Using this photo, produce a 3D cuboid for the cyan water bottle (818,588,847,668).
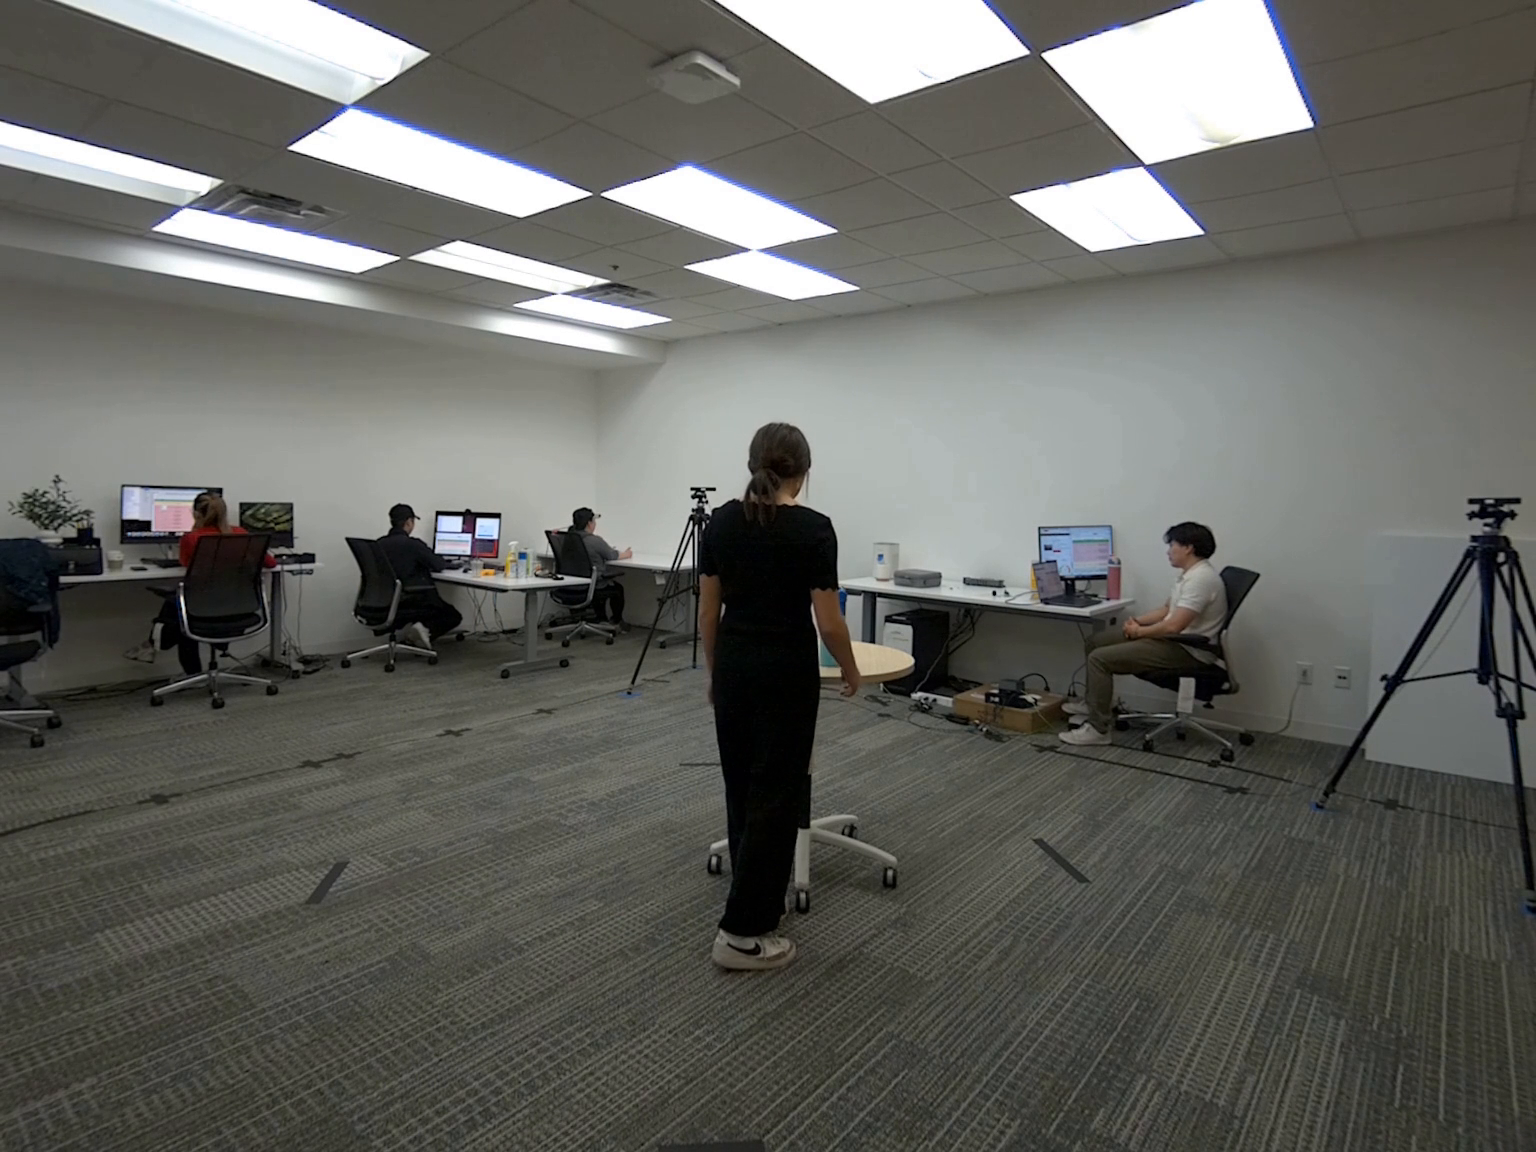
[{"bbox_3d":[0.214,0.164,2.934,0.092,0.282,0.093,-1,4,-2],"label":"cyan water bottle"}]
